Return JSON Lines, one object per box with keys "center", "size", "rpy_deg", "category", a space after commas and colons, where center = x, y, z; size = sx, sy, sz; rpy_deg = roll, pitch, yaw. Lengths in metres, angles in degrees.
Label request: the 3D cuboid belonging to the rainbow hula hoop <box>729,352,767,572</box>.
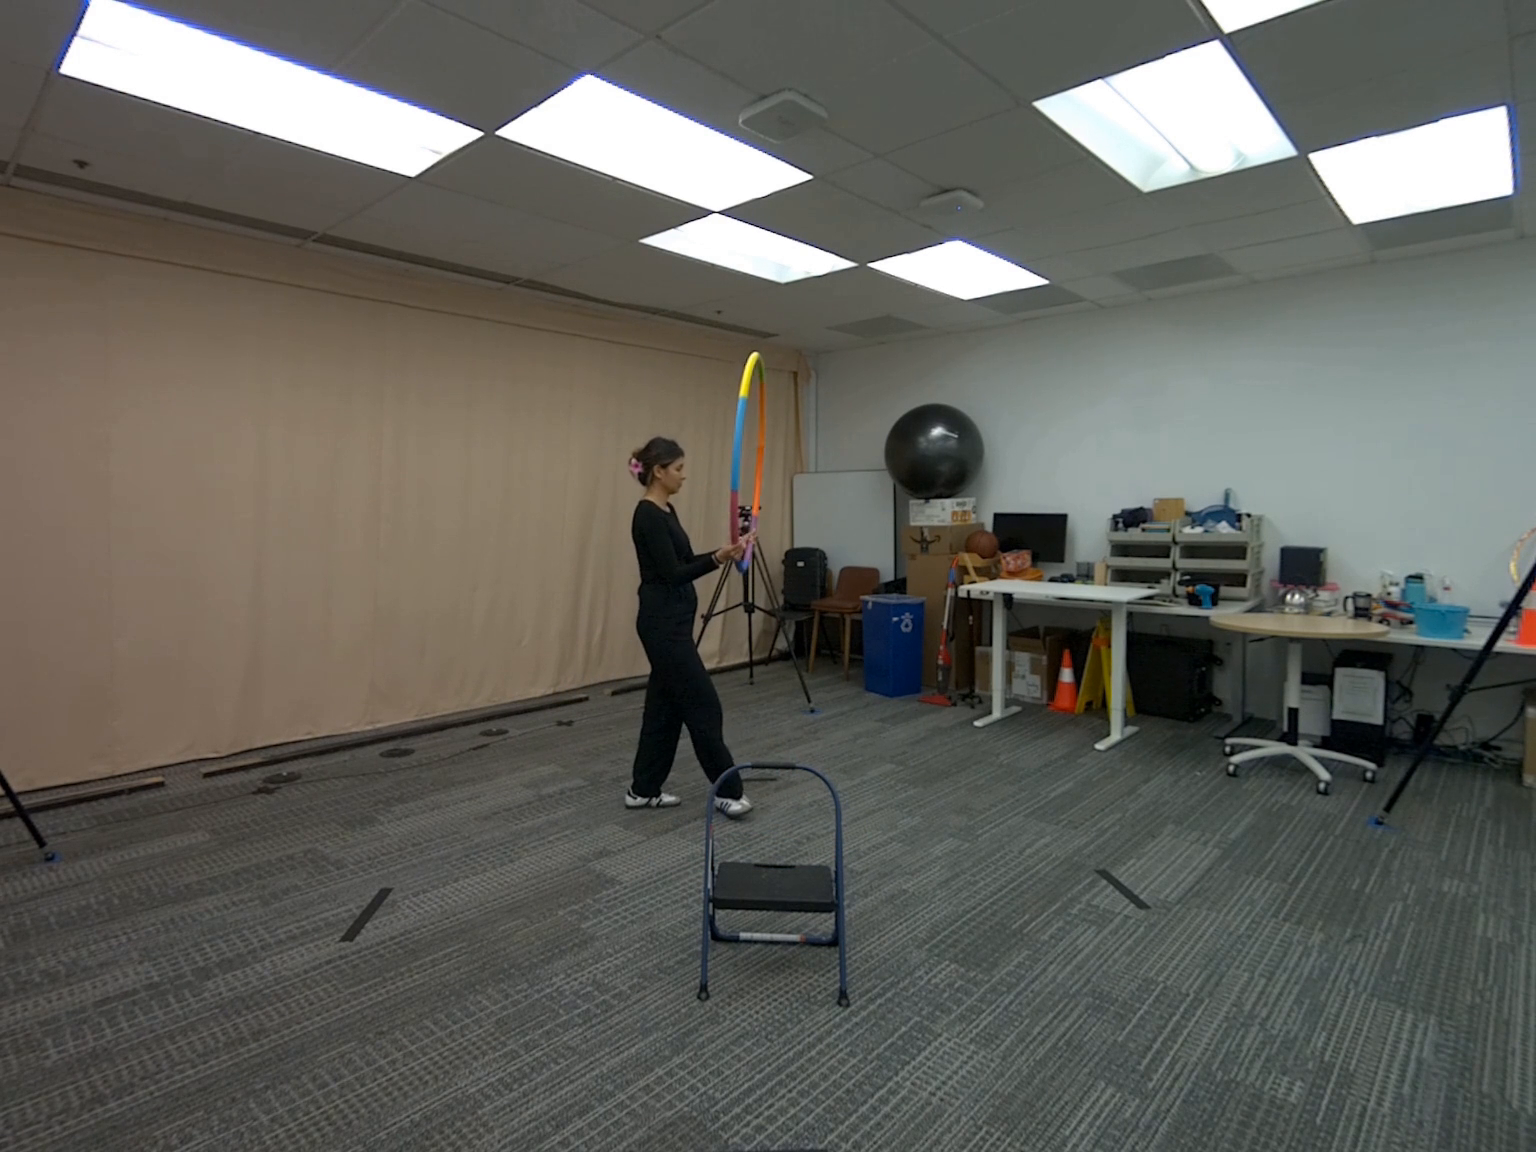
{"center": [-0.086, -0.501, 3.791], "size": [0.036, 0.976, 0.974], "rpy_deg": [5, 4, 4], "category": "rainbow hula hoop"}
